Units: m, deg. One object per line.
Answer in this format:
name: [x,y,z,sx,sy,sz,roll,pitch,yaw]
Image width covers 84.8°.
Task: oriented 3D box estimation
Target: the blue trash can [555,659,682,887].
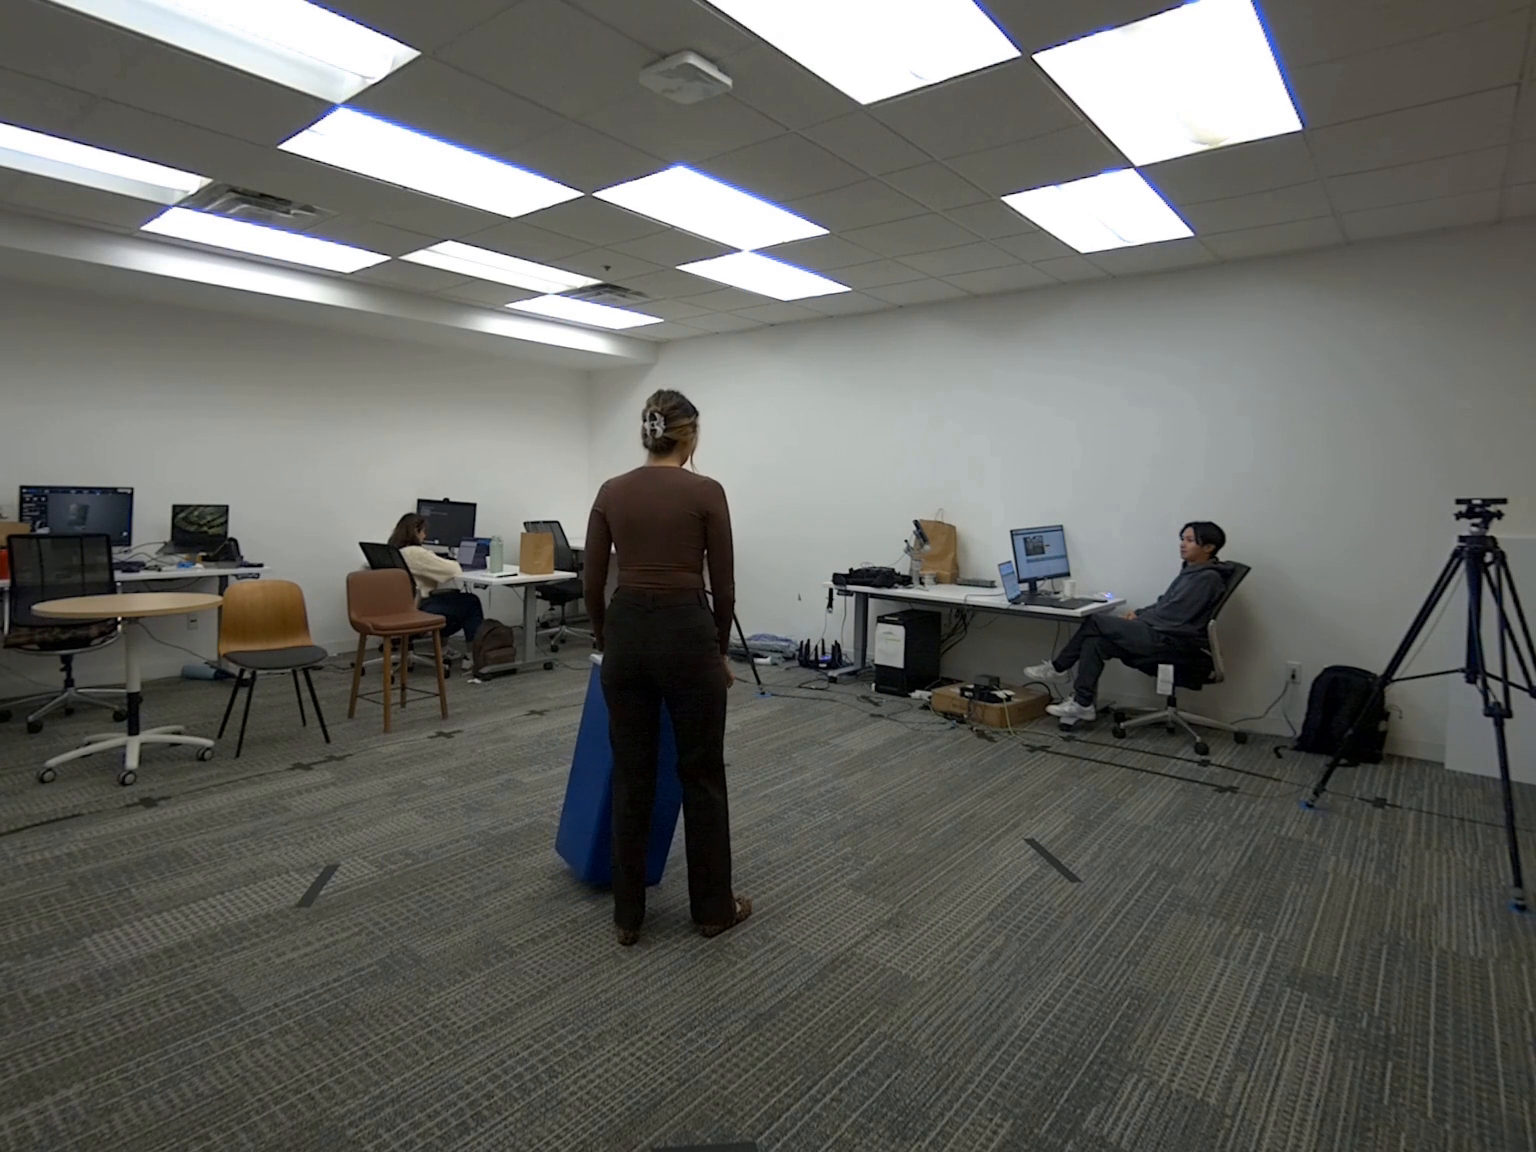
blue trash can: [-0.514,0.683,3.073,0.365,0.716,0.386,16,-6,-33]
